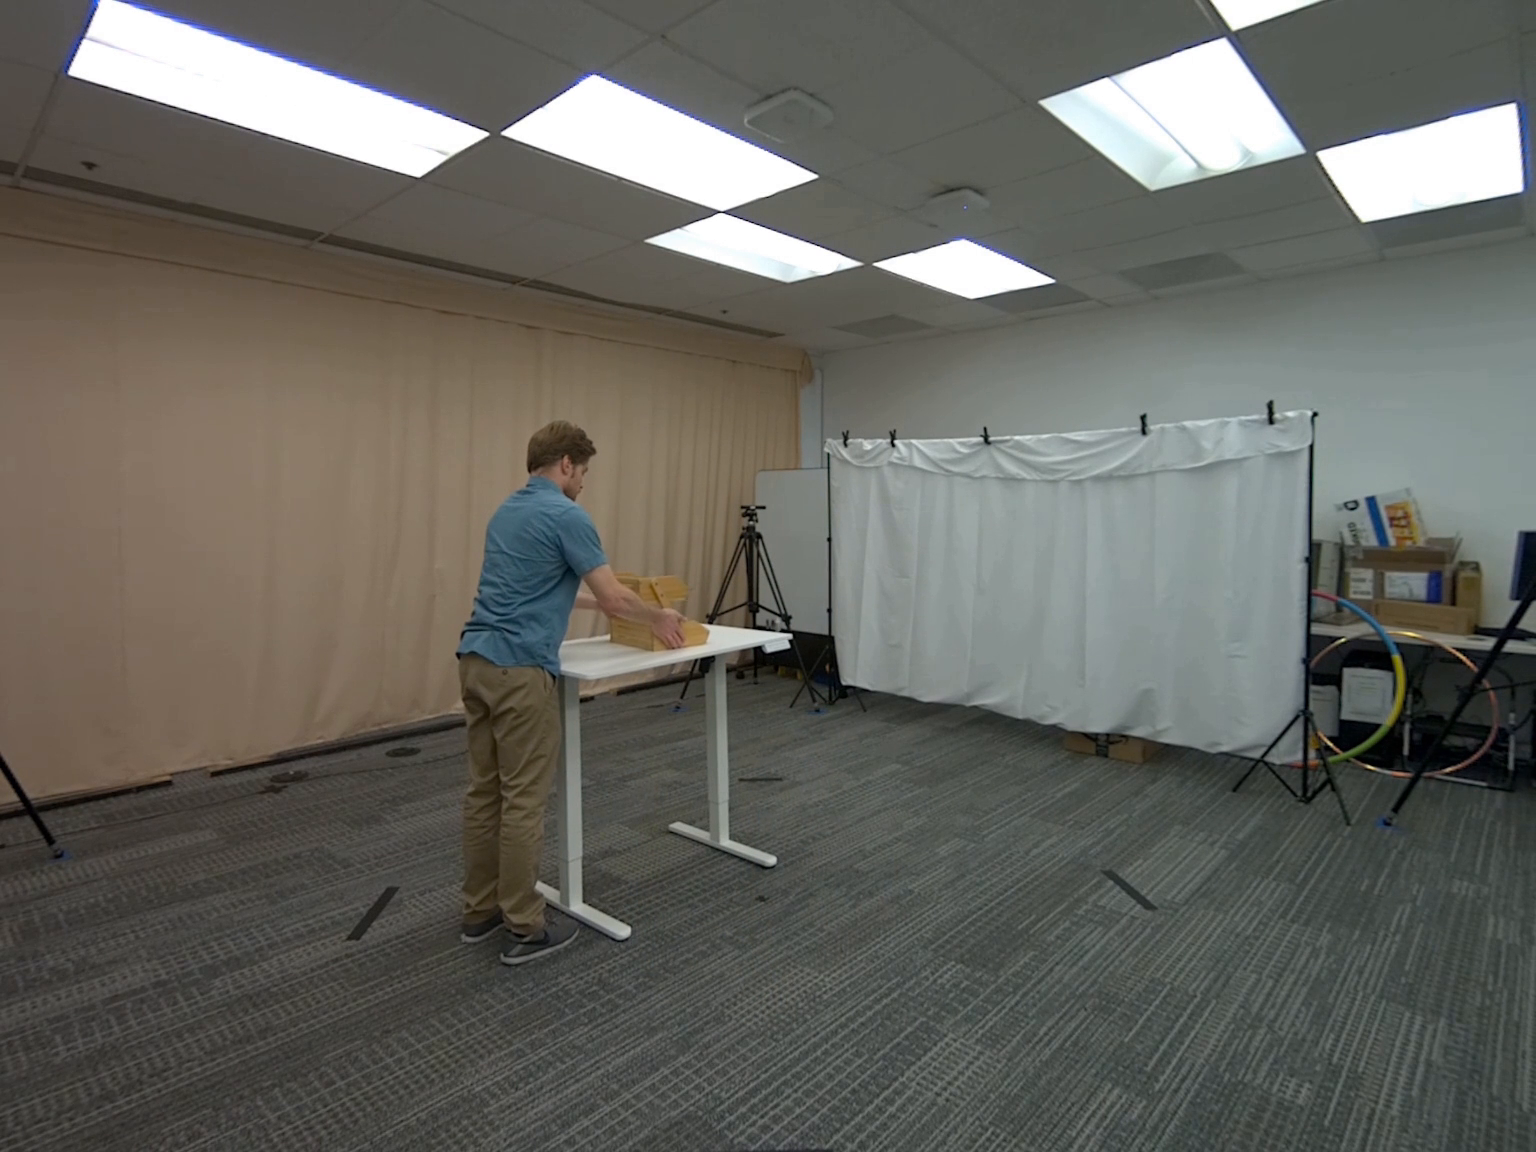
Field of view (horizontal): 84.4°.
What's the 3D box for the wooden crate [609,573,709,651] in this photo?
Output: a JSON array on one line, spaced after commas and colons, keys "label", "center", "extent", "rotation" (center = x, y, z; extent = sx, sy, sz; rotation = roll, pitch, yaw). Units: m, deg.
[{"label": "wooden crate", "center": [-0.425, 0.120, 3.132], "extent": [0.293, 0.272, 0.335], "rotation": [-5, 5, -39]}]
